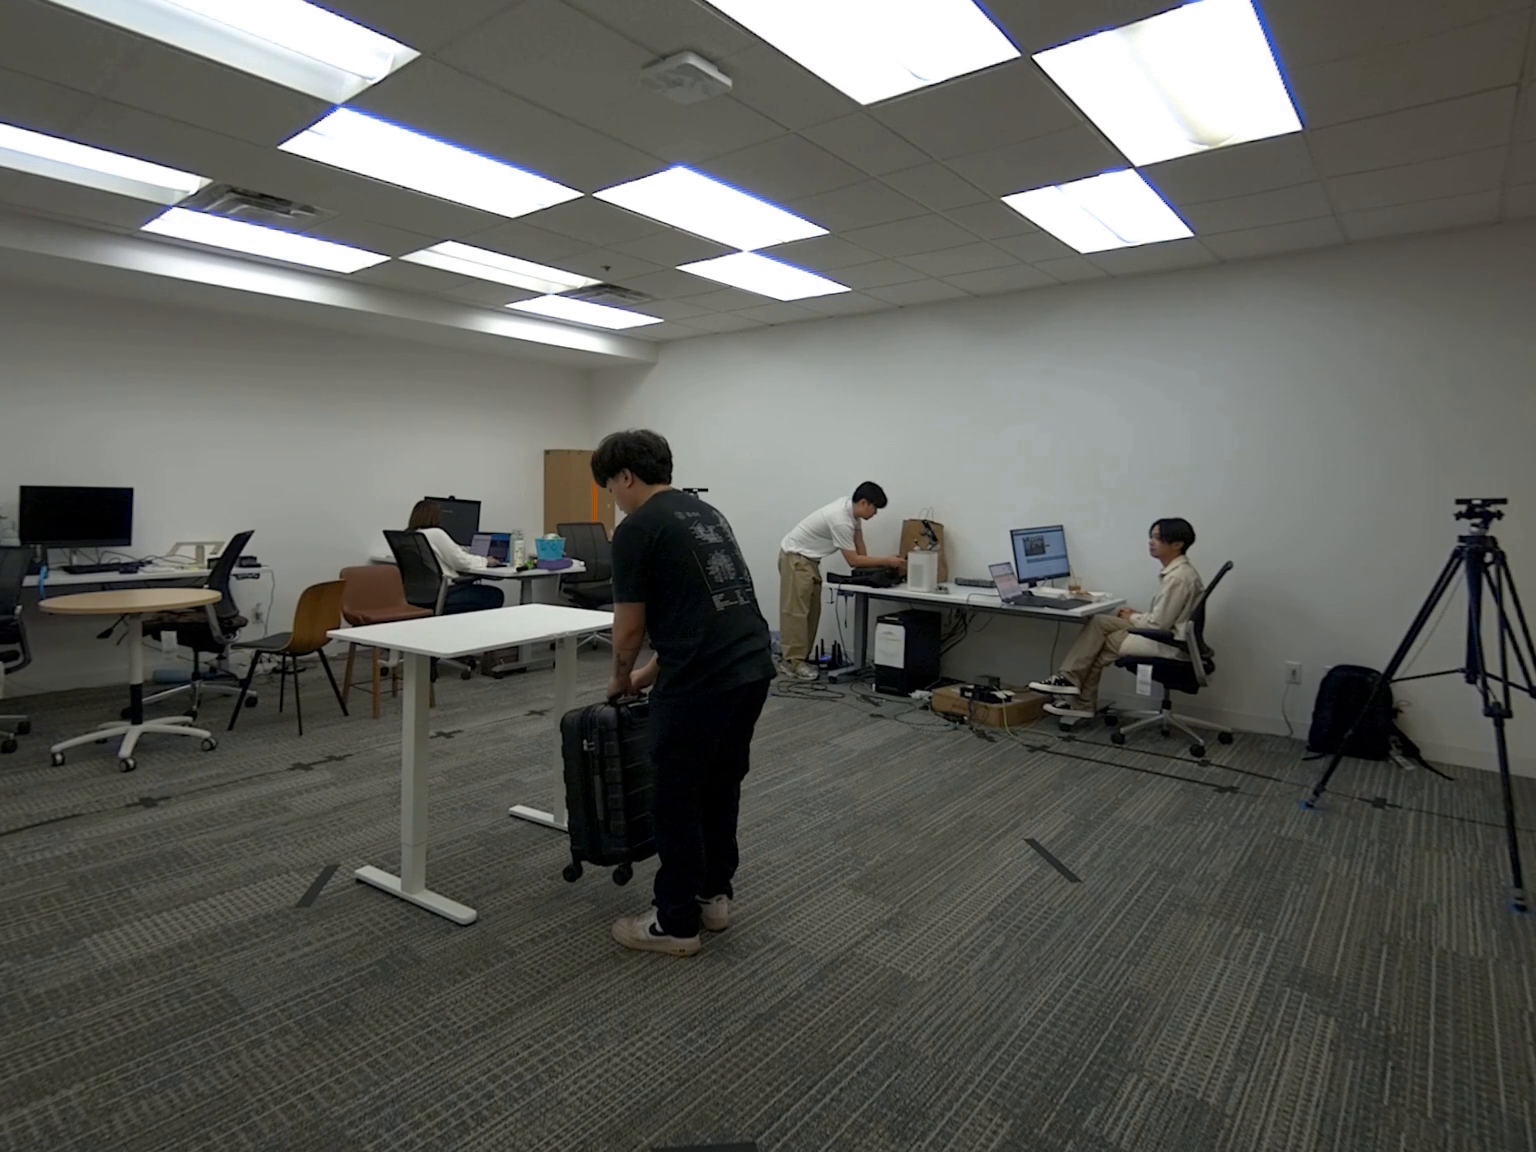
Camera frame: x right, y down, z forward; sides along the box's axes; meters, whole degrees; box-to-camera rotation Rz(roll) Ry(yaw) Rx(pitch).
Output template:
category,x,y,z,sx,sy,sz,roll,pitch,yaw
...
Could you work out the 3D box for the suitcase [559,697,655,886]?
category,x,y,z,sx,sy,sz,roll,pitch,yaw
suitcase,-0.494,0.687,2.817,0.254,0.553,0.364,-11,-7,29
